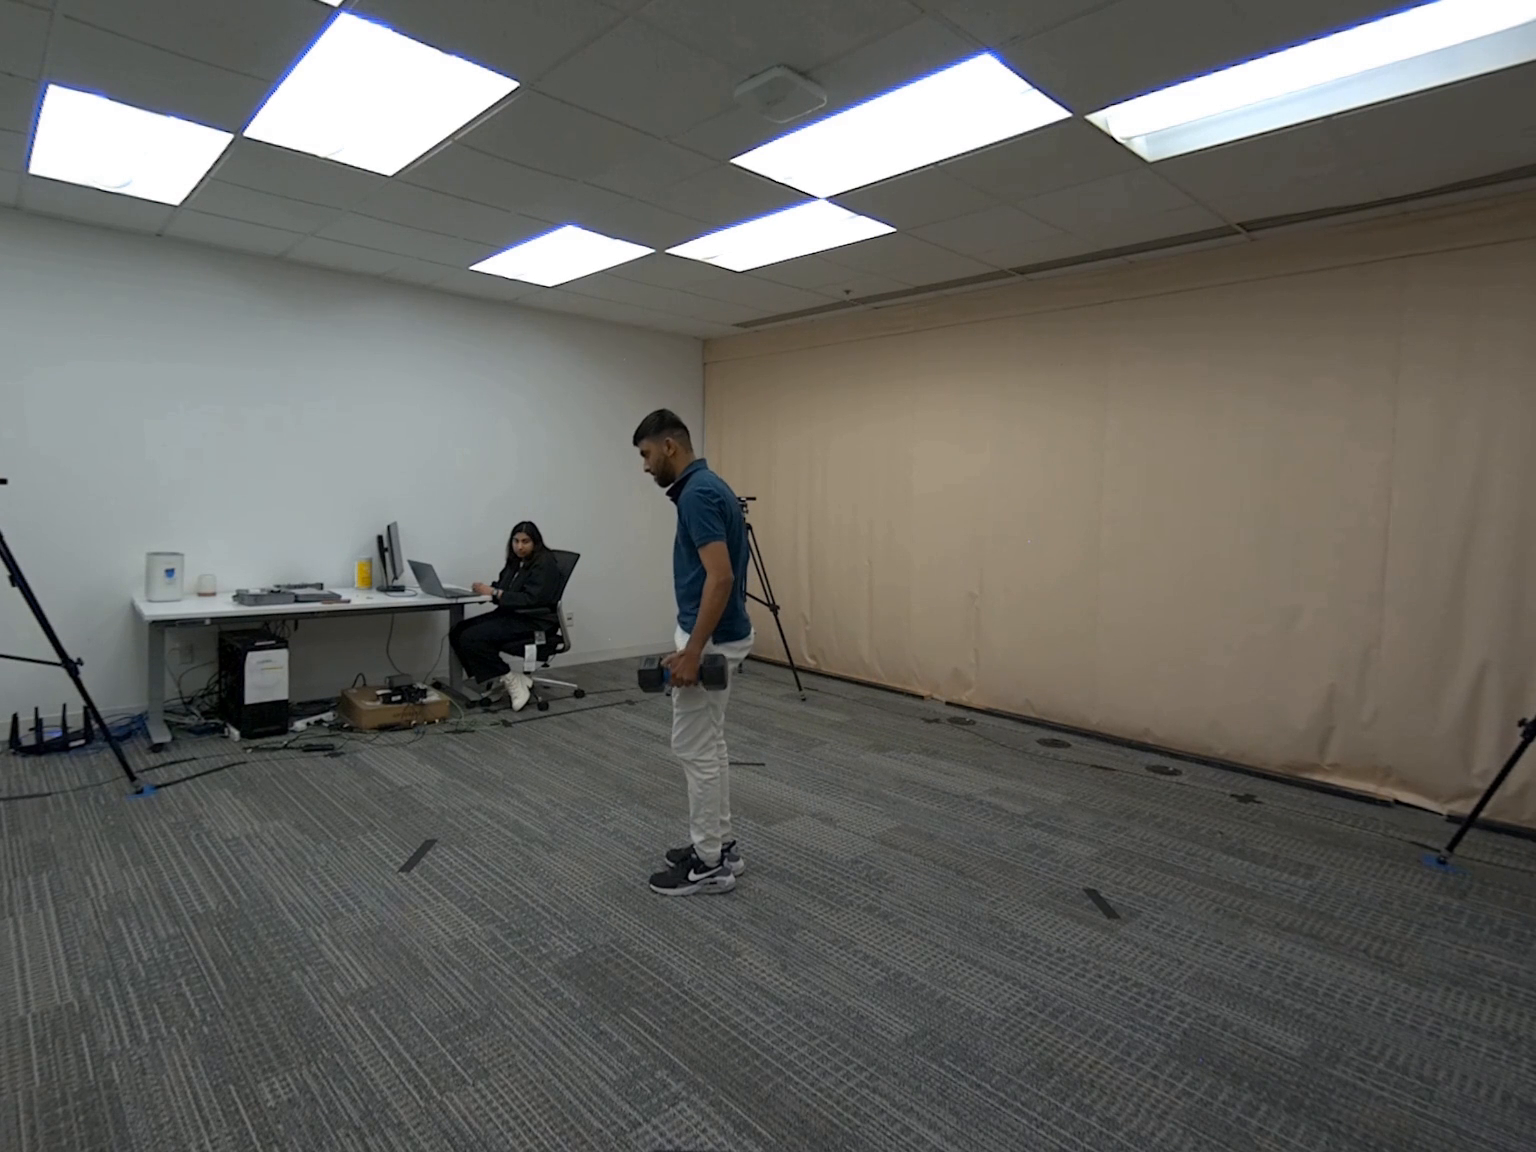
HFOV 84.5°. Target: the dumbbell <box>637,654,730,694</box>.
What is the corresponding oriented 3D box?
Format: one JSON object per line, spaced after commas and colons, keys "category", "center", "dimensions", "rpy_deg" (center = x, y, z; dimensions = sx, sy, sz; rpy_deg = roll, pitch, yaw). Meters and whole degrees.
{"category": "dumbbell", "center": [-0.298, 0.328, 2.801], "dimensions": [0.295, 0.123, 0.108], "rpy_deg": [-1, 3, 5]}
